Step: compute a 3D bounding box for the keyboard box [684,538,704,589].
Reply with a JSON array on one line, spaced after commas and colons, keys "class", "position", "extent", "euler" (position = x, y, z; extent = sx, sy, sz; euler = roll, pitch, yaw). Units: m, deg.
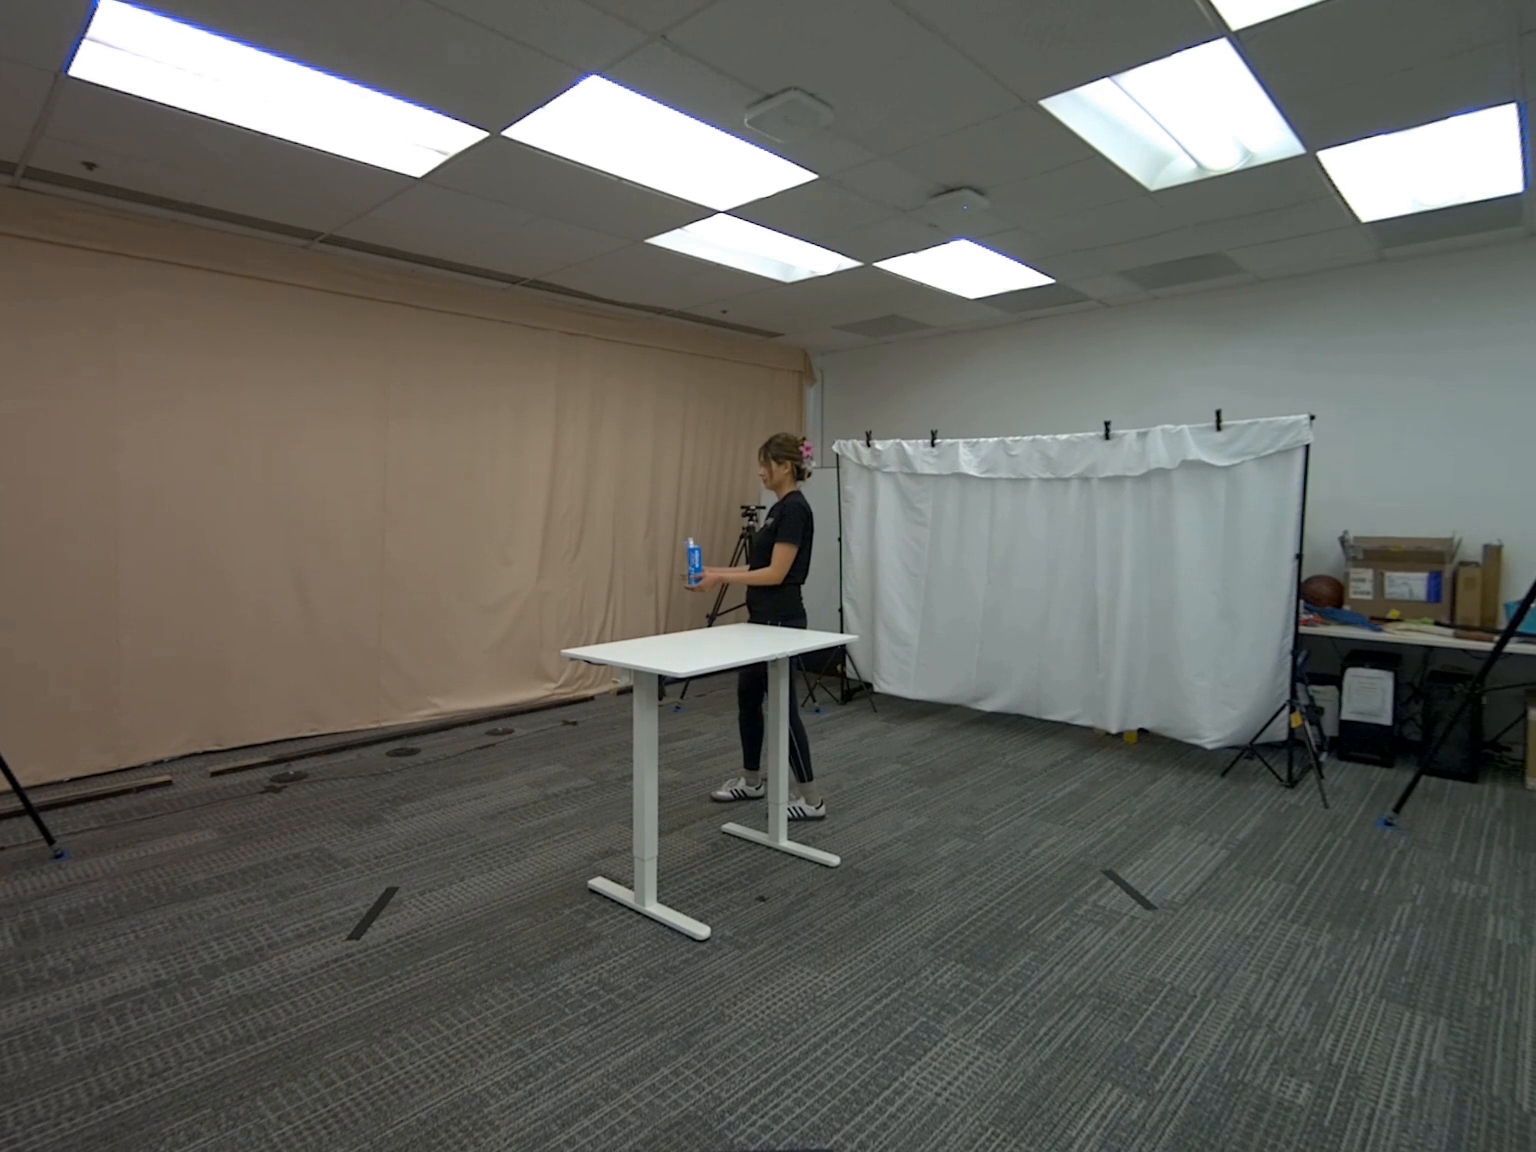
[{"class": "keyboard box", "position": [-0.346, -0.059, 3.840], "extent": [0.059, 0.175, 0.441], "euler": [-2, 6, -8]}]
